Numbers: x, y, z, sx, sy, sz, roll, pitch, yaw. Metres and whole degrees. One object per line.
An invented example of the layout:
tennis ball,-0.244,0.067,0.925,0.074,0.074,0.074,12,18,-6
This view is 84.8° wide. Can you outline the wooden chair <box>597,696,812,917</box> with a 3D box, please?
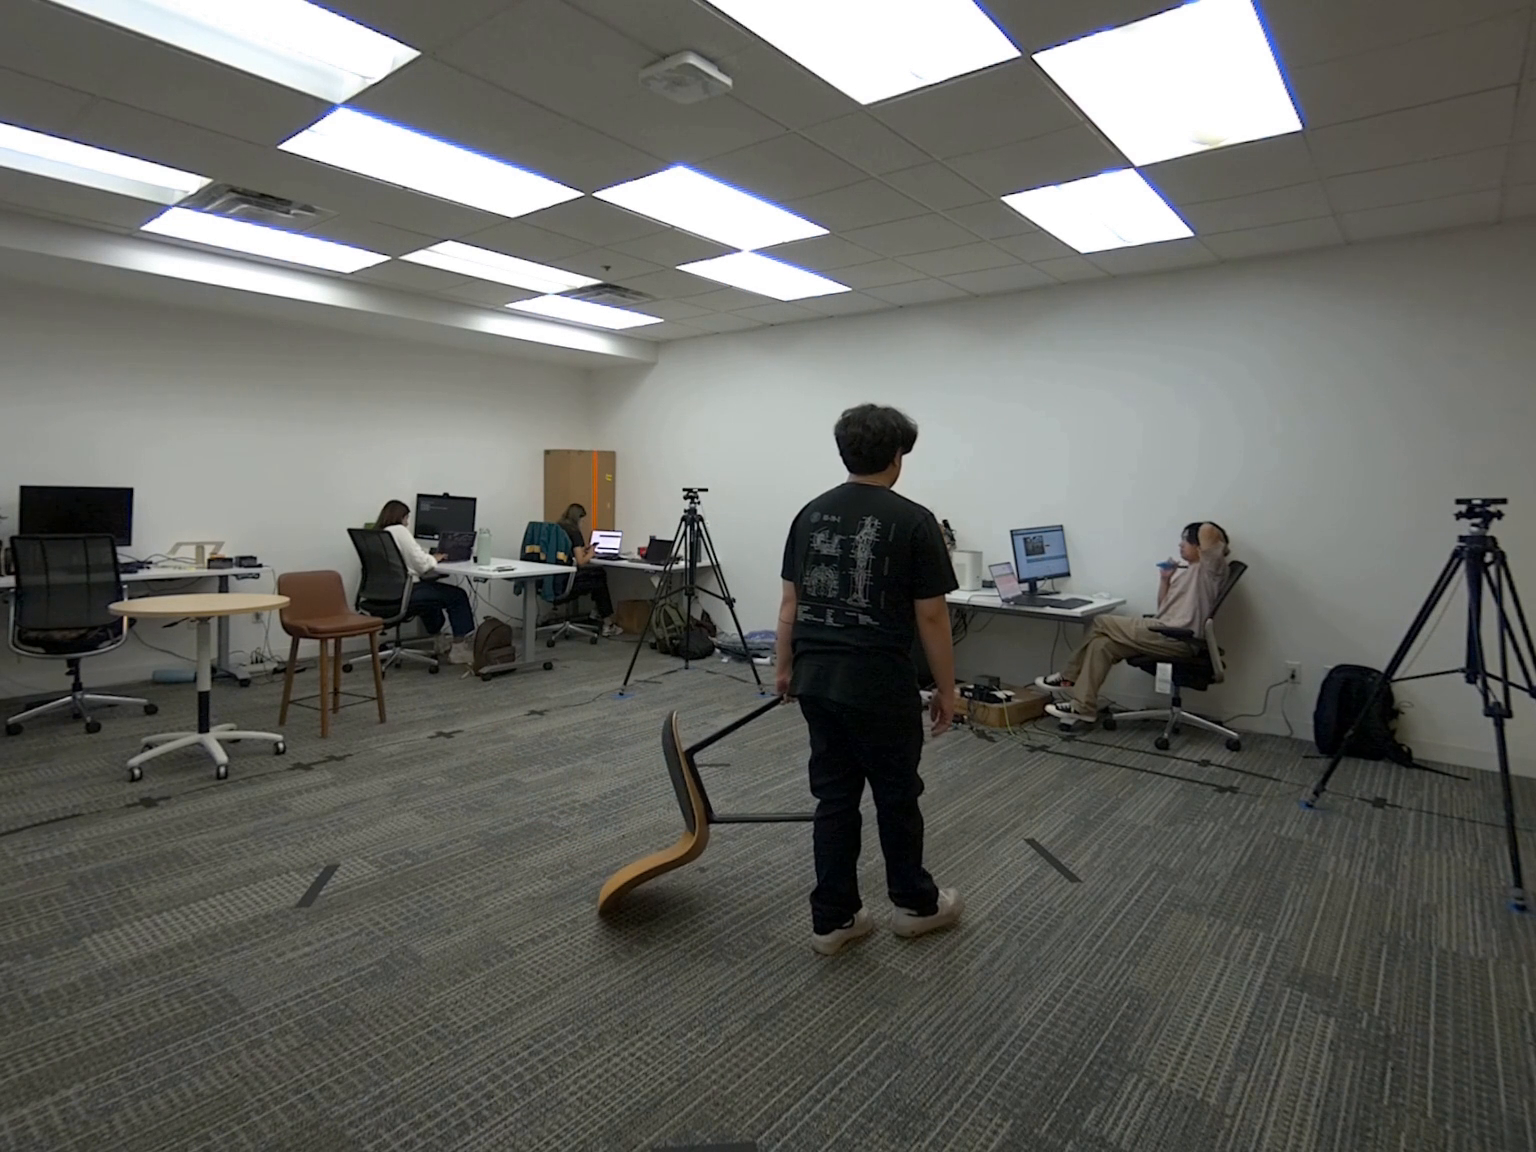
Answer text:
wooden chair,-0.244,0.714,2.875,0.869,0.532,0.474,-19,-13,-13
